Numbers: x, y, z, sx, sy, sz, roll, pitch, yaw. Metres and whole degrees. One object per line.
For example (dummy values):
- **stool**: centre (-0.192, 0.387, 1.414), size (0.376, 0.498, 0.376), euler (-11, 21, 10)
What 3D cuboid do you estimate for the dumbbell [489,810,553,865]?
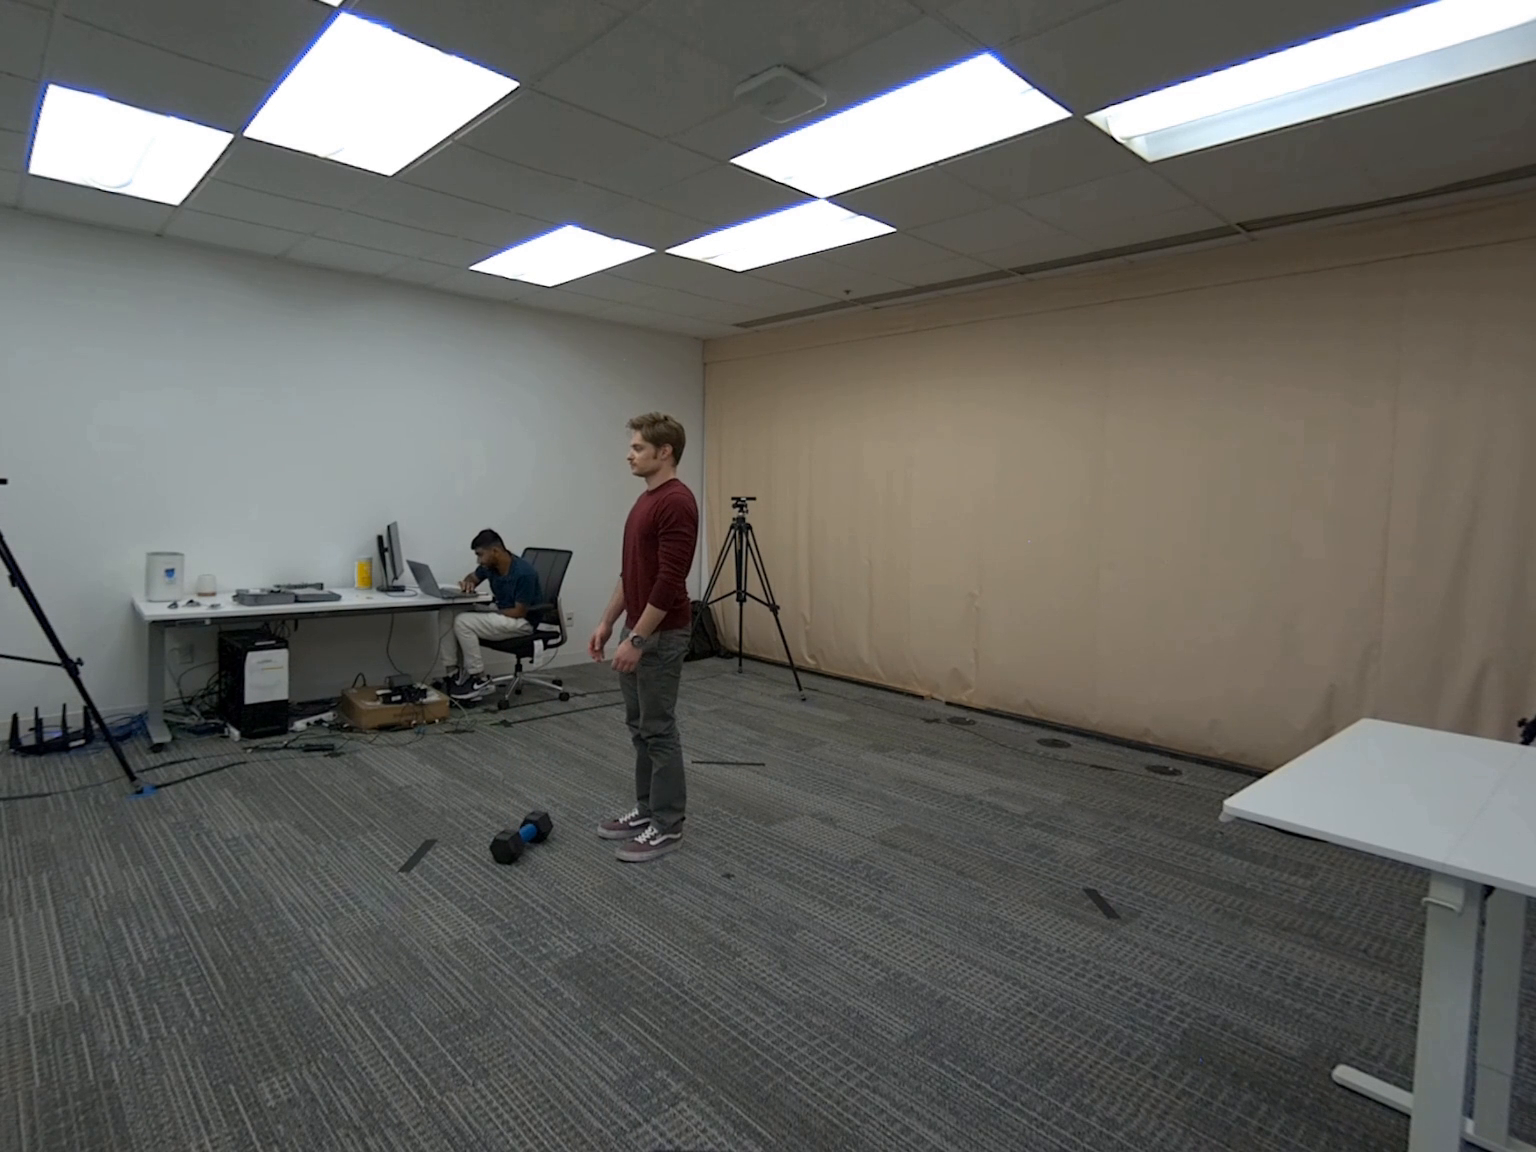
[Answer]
- **dumbbell**: centre (-0.967, 1.018, 3.288), size (0.109, 0.123, 0.290), euler (-29, -3, 16)
